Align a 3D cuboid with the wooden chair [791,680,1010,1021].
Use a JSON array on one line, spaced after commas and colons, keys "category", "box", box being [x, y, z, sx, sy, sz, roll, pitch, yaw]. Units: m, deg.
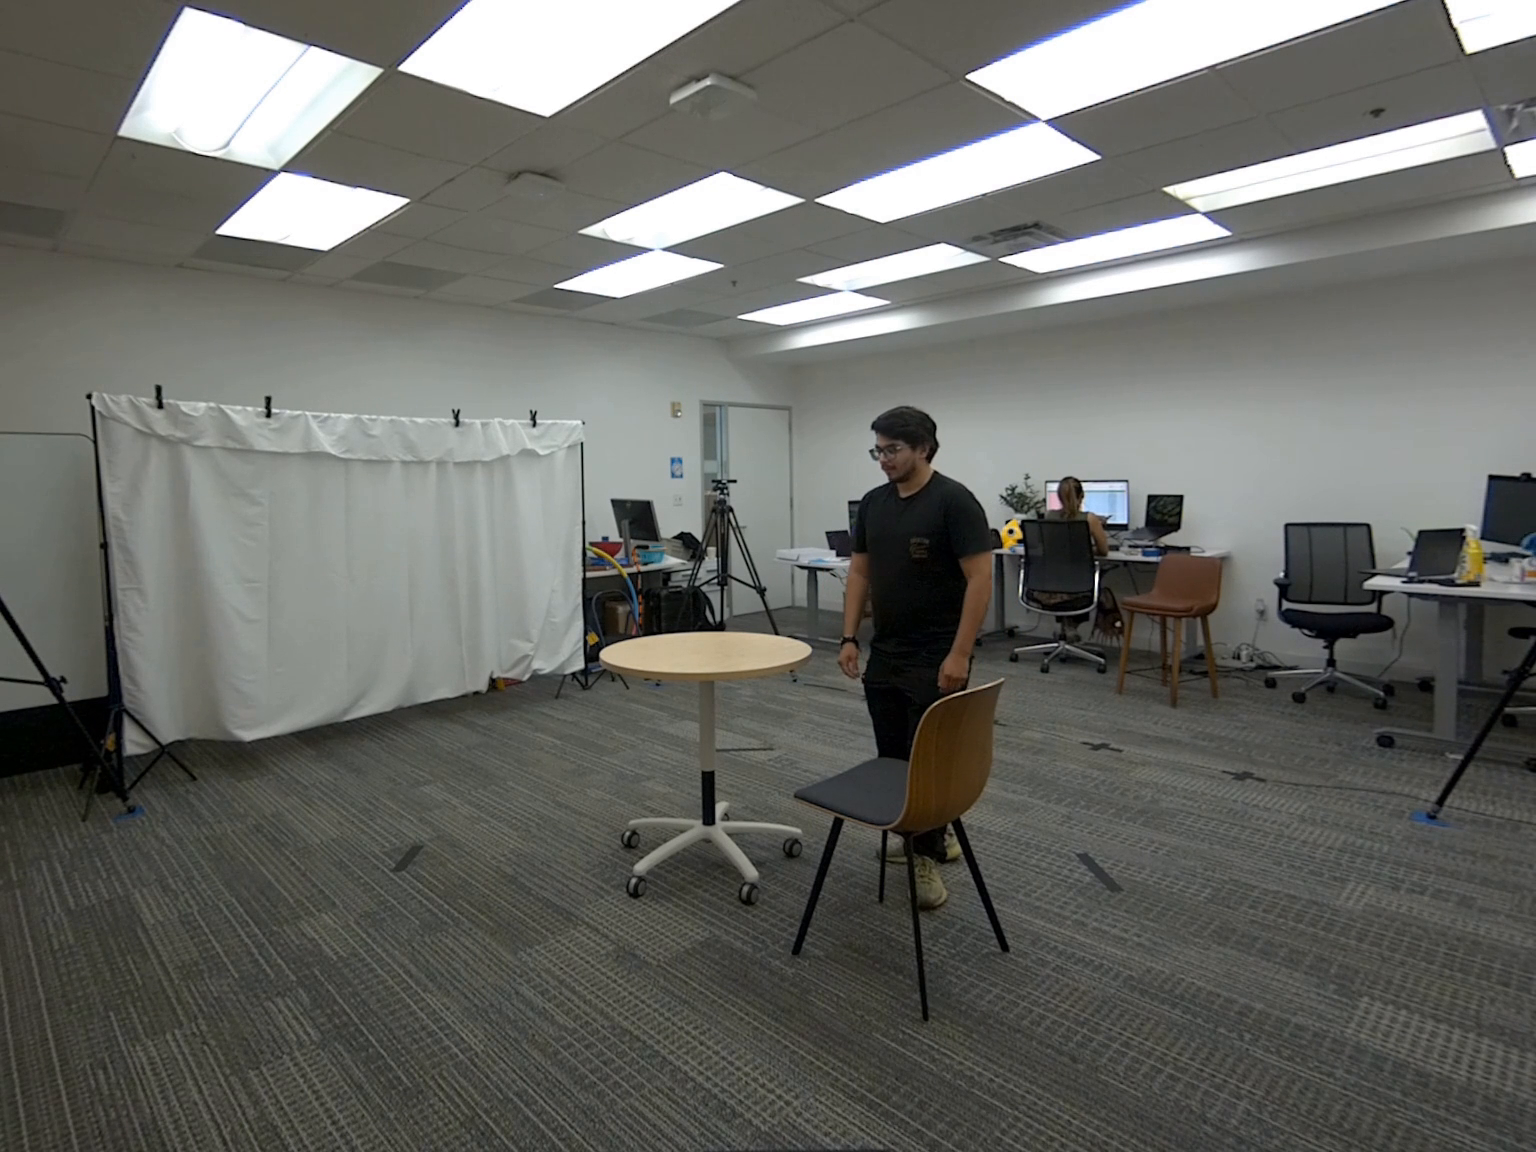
[{"category": "wooden chair", "box": [0.377, 0.683, 2.477, 0.540, 0.871, 0.466, 9, 11, 43]}]
